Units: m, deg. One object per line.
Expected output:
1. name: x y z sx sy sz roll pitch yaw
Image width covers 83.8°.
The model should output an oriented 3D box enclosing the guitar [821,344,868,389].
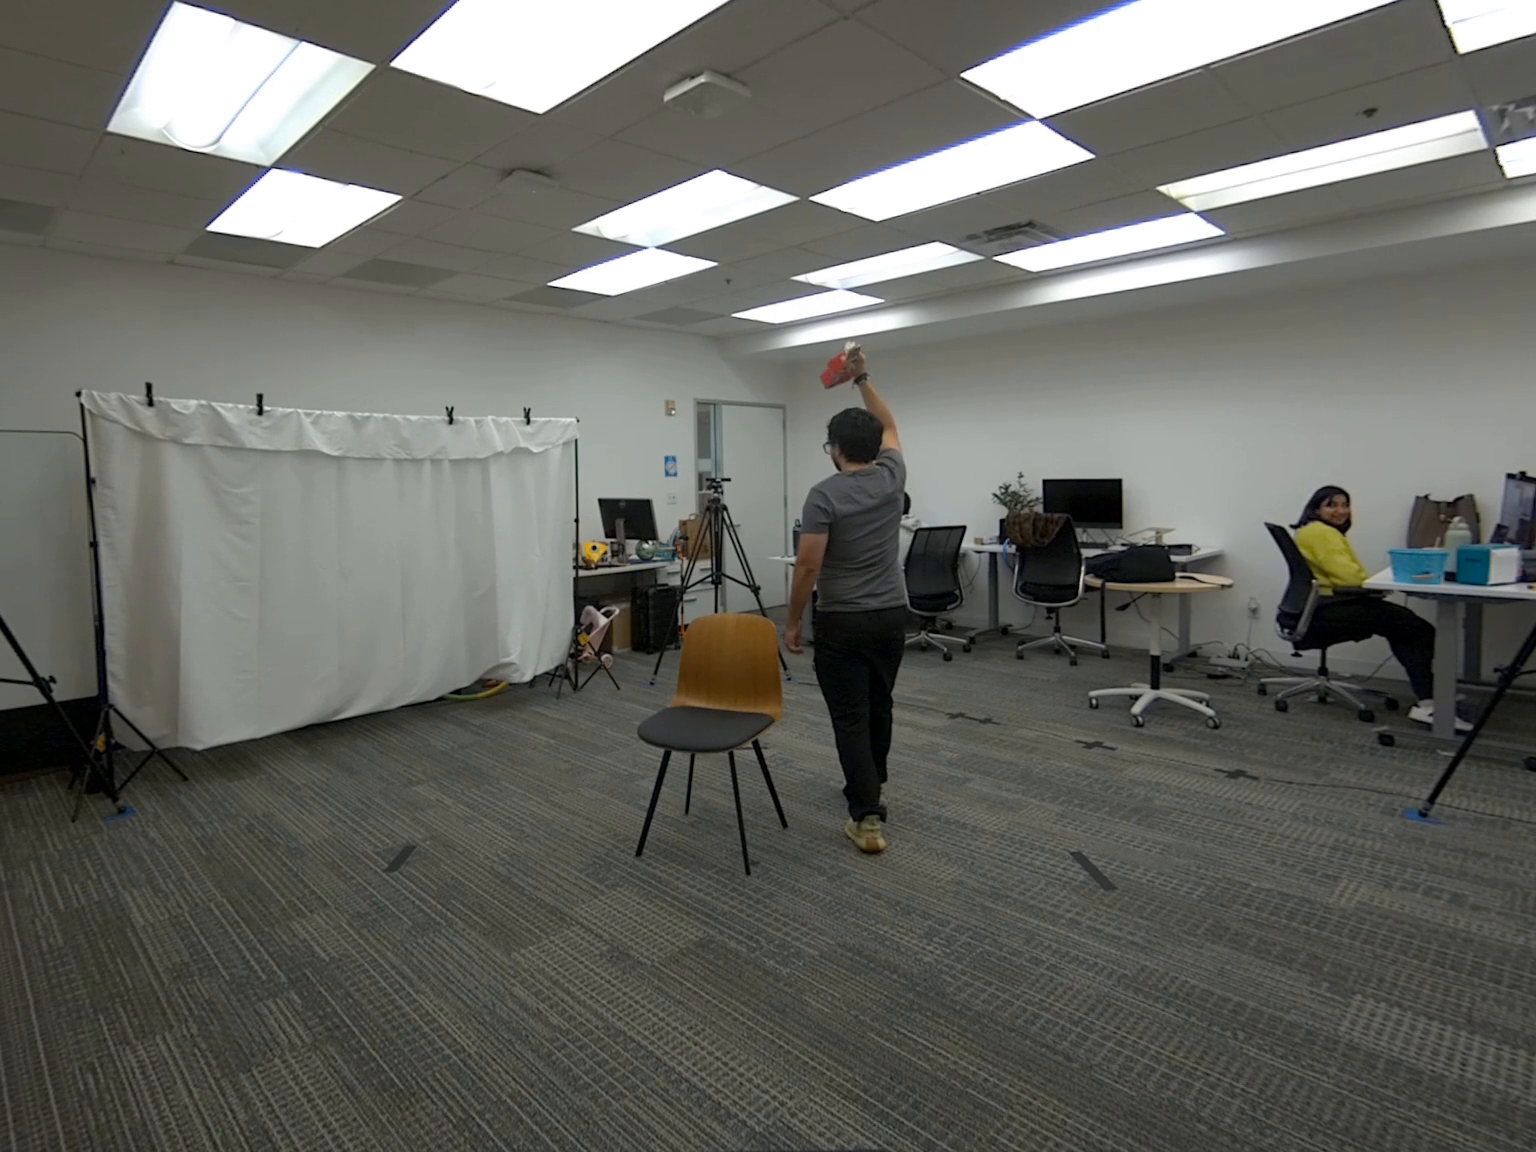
1. guitar: 0.353 -0.892 3.512 0.192 0.071 0.497 -22 -2 -9
